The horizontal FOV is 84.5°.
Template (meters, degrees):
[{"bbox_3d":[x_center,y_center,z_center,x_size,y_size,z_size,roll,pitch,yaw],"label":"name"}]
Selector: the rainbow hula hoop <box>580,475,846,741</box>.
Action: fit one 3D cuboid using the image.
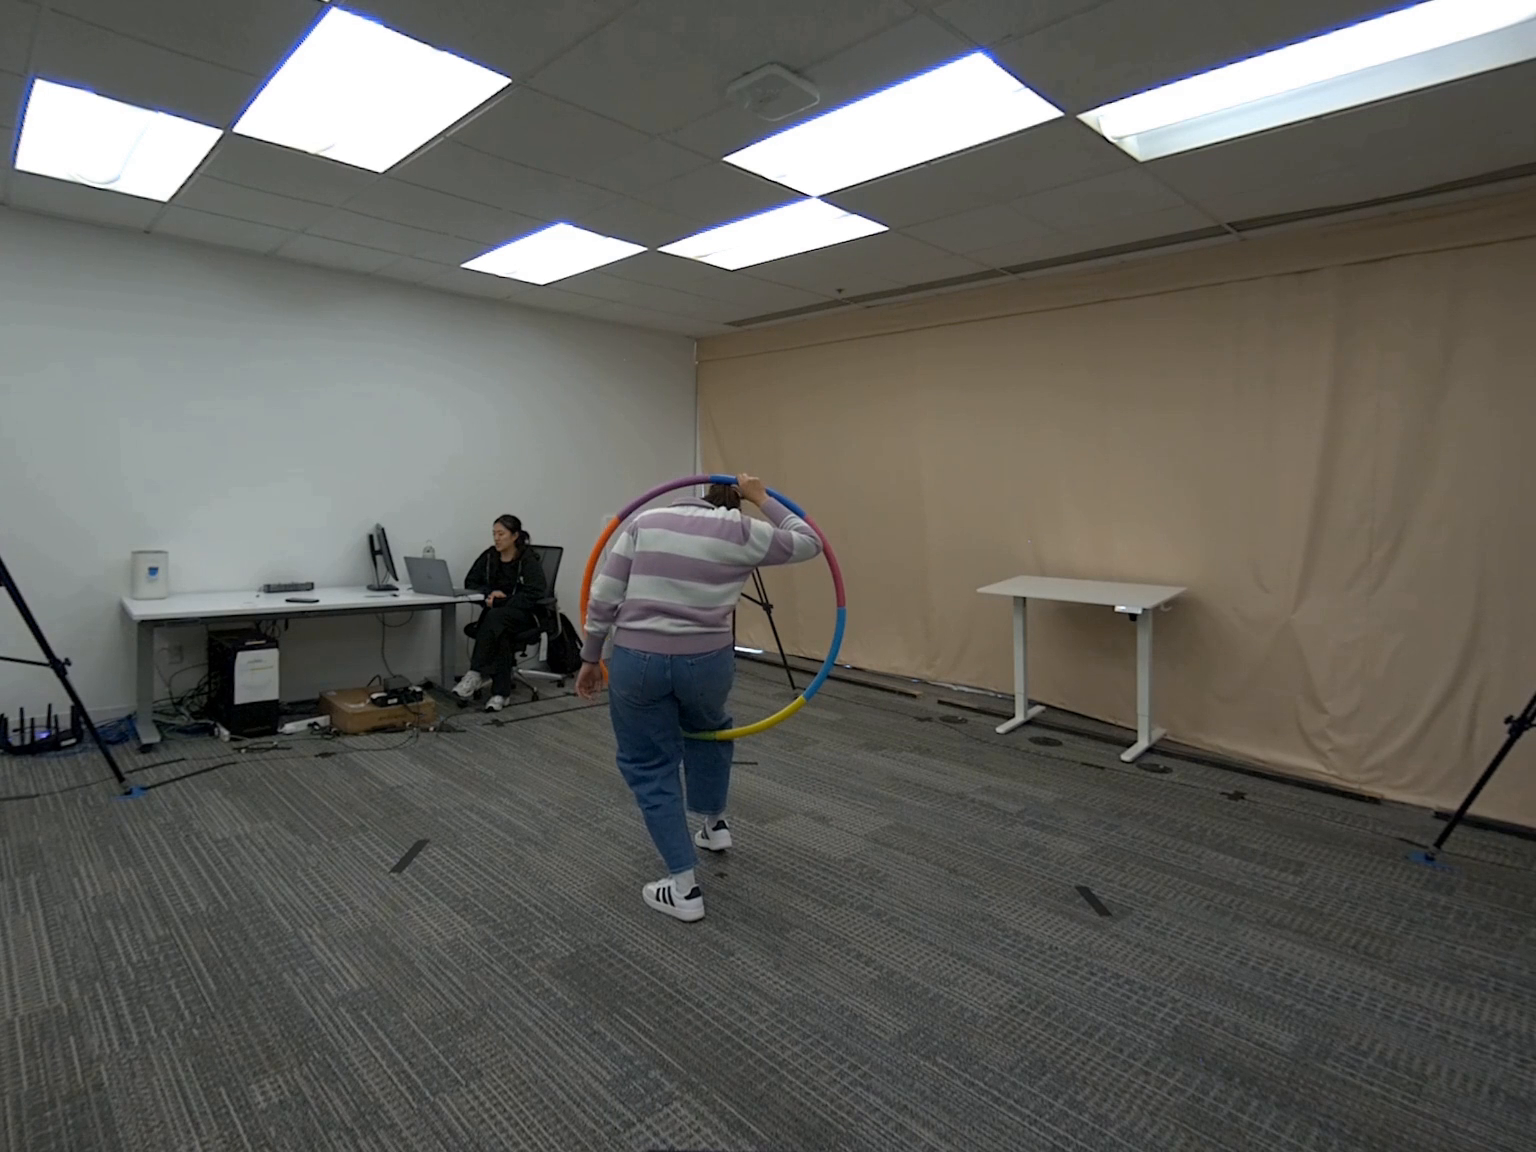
[{"bbox_3d":[-0.208,0.122,3.102,0.988,0.980,0.052,2,6,4],"label":"rainbow hula hoop"}]
